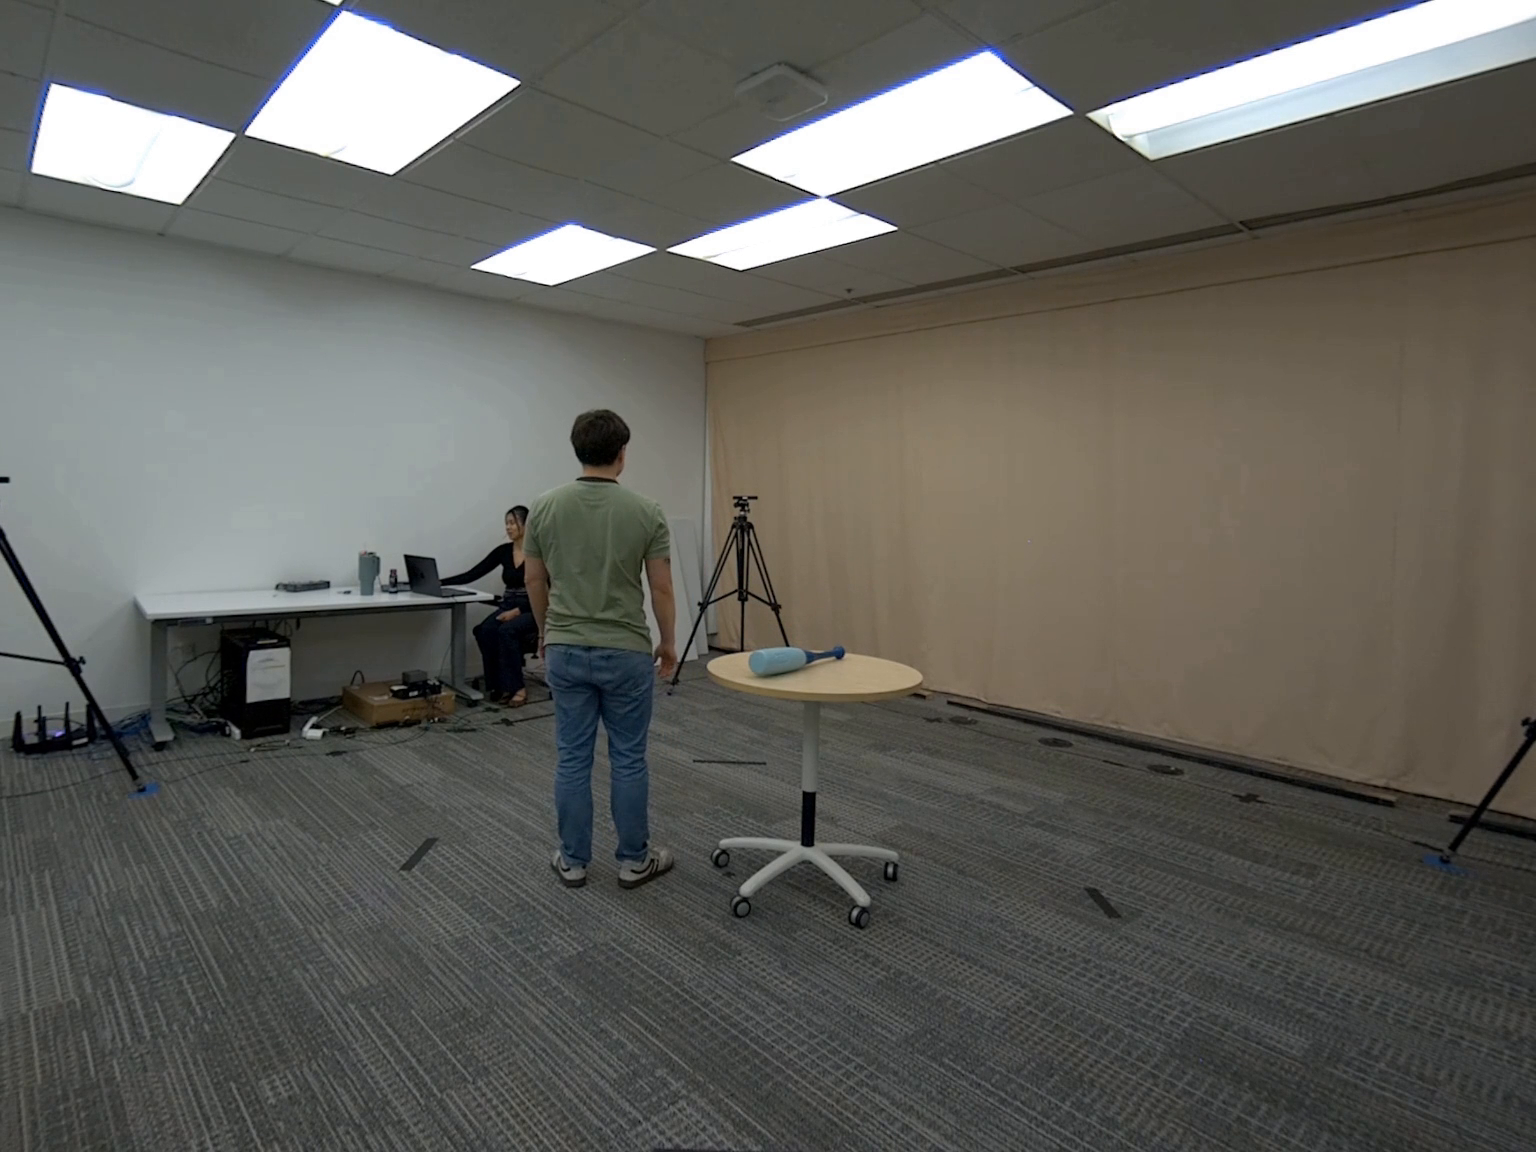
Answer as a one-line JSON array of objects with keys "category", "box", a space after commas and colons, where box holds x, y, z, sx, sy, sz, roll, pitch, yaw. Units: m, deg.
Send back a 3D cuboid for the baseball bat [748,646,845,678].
[{"category": "baseball bat", "box": [0.112, 0.294, 3.029, 0.091, 0.089, 0.530, 4, 2, 35]}]
